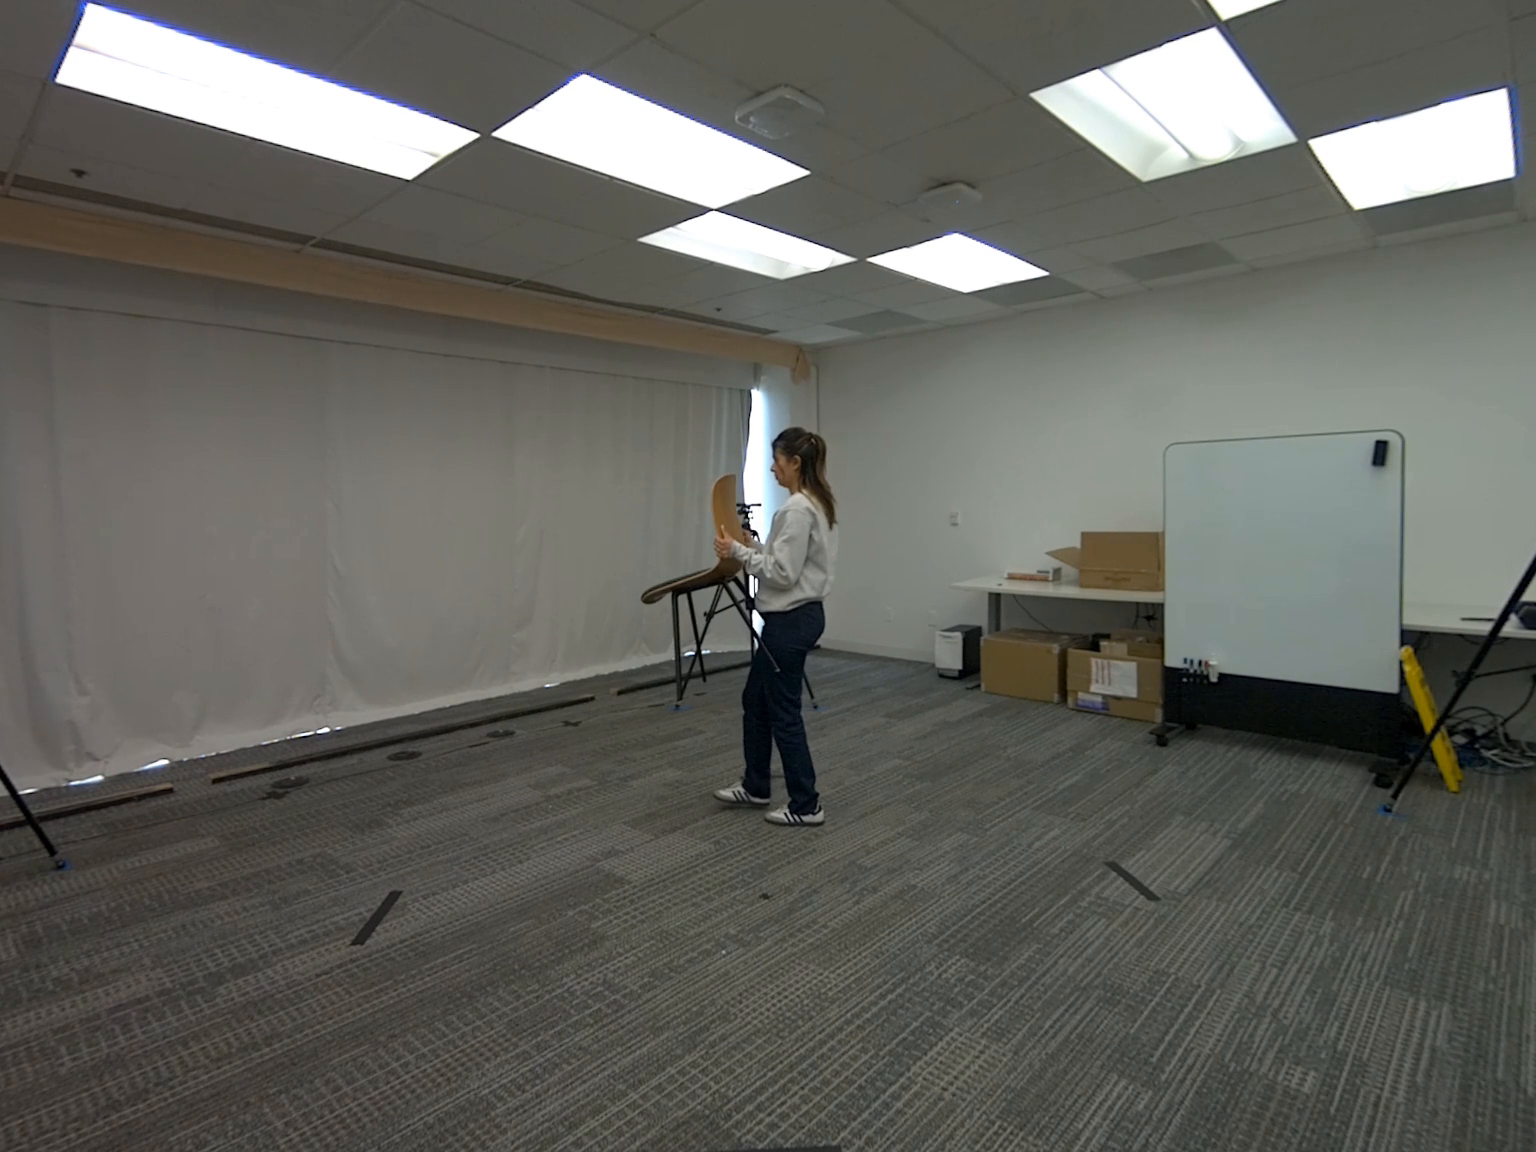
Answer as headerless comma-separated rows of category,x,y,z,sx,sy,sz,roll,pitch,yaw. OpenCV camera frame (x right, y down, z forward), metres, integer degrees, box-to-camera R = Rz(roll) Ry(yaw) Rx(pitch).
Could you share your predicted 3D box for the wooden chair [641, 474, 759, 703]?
wooden chair,-0.278,0.049,3.746,0.529,0.877,0.473,-15,1,13
